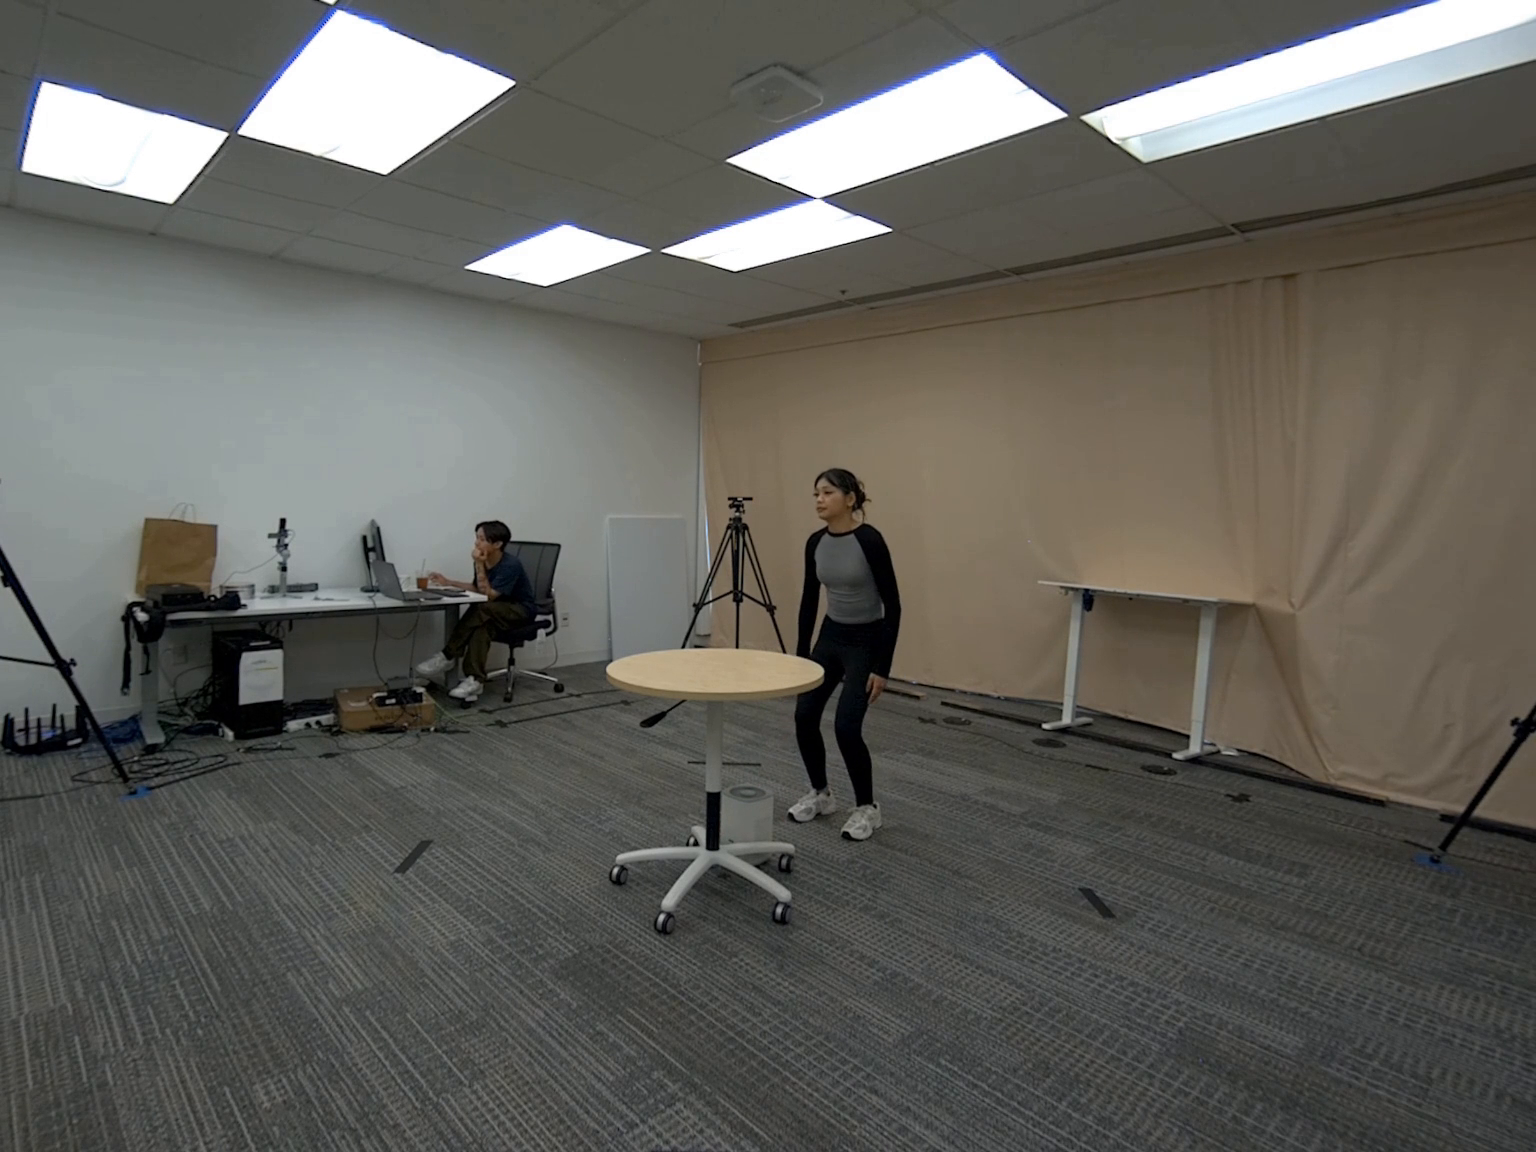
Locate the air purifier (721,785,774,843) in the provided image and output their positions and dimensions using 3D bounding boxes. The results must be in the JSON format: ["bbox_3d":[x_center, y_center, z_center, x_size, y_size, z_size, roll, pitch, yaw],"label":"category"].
[{"bbox_3d":[-0.087,0.961,3.250,0.175,0.265,0.168,4,5,41],"label":"air purifier"}]
